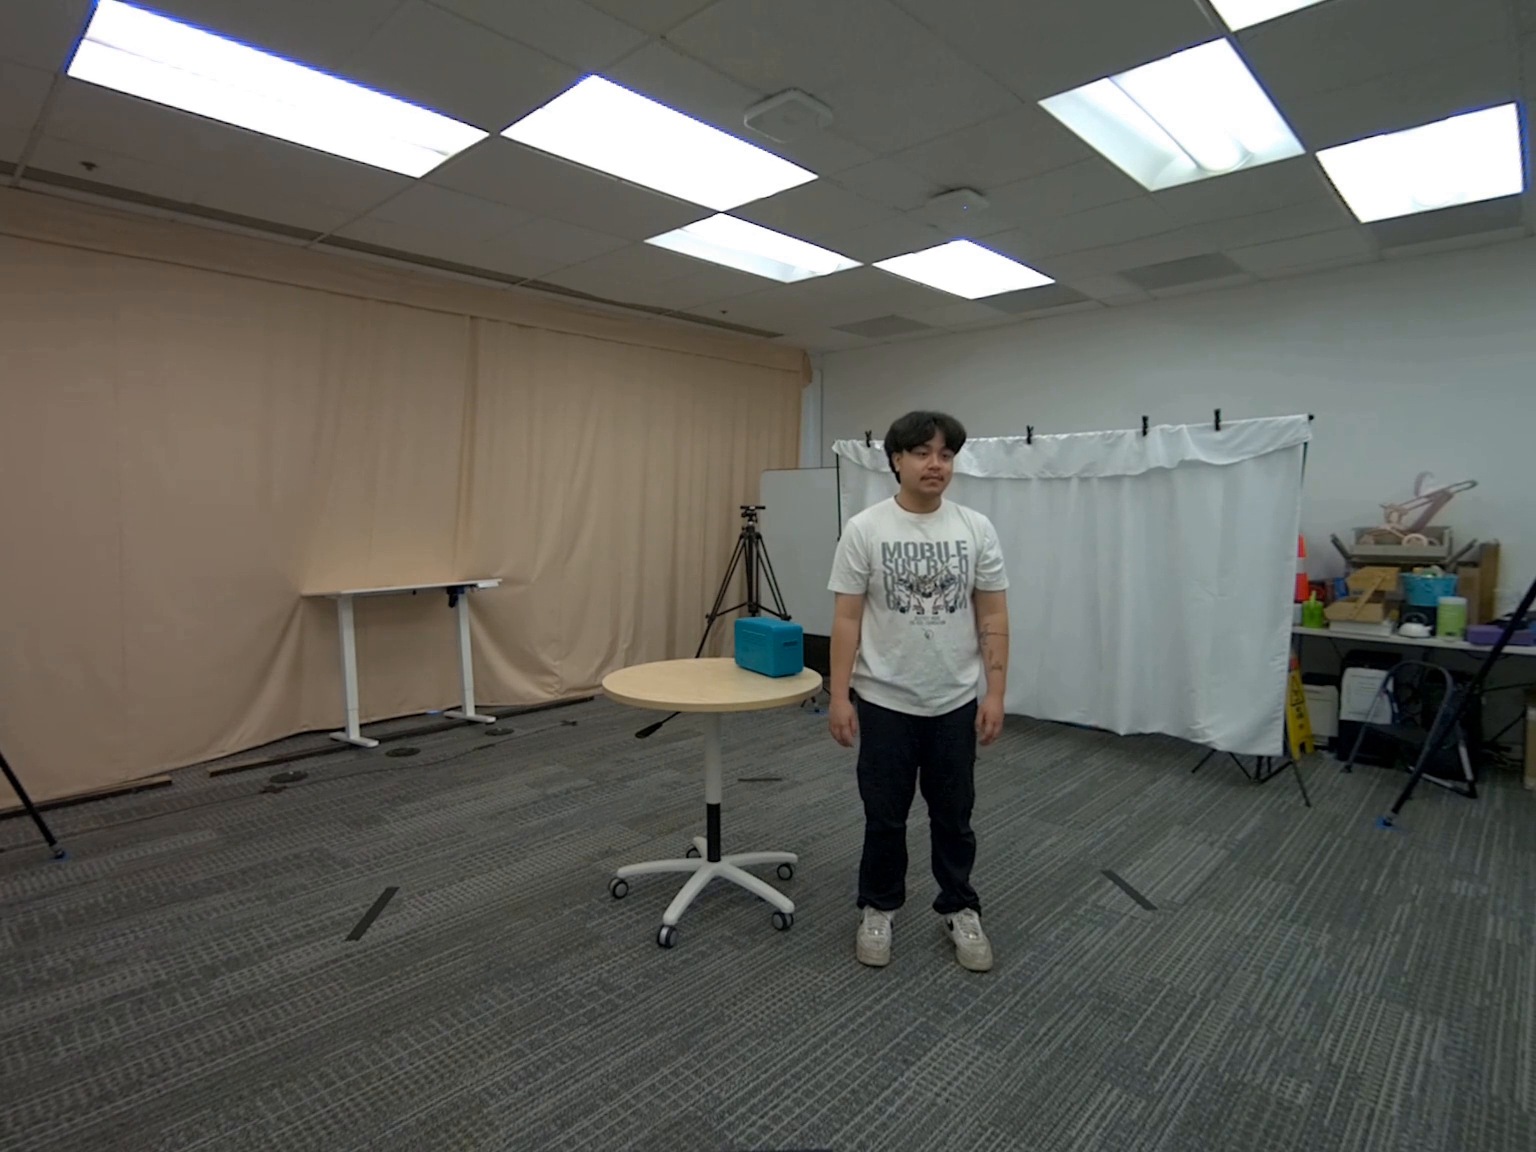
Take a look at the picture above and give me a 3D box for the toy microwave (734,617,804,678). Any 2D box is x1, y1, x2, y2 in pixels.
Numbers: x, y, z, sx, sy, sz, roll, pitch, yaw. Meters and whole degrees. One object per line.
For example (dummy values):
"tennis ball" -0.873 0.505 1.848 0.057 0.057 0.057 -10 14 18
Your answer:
"toy microwave" 0.013 0.253 3.059 0.148 0.184 0.294 -3 4 -31
